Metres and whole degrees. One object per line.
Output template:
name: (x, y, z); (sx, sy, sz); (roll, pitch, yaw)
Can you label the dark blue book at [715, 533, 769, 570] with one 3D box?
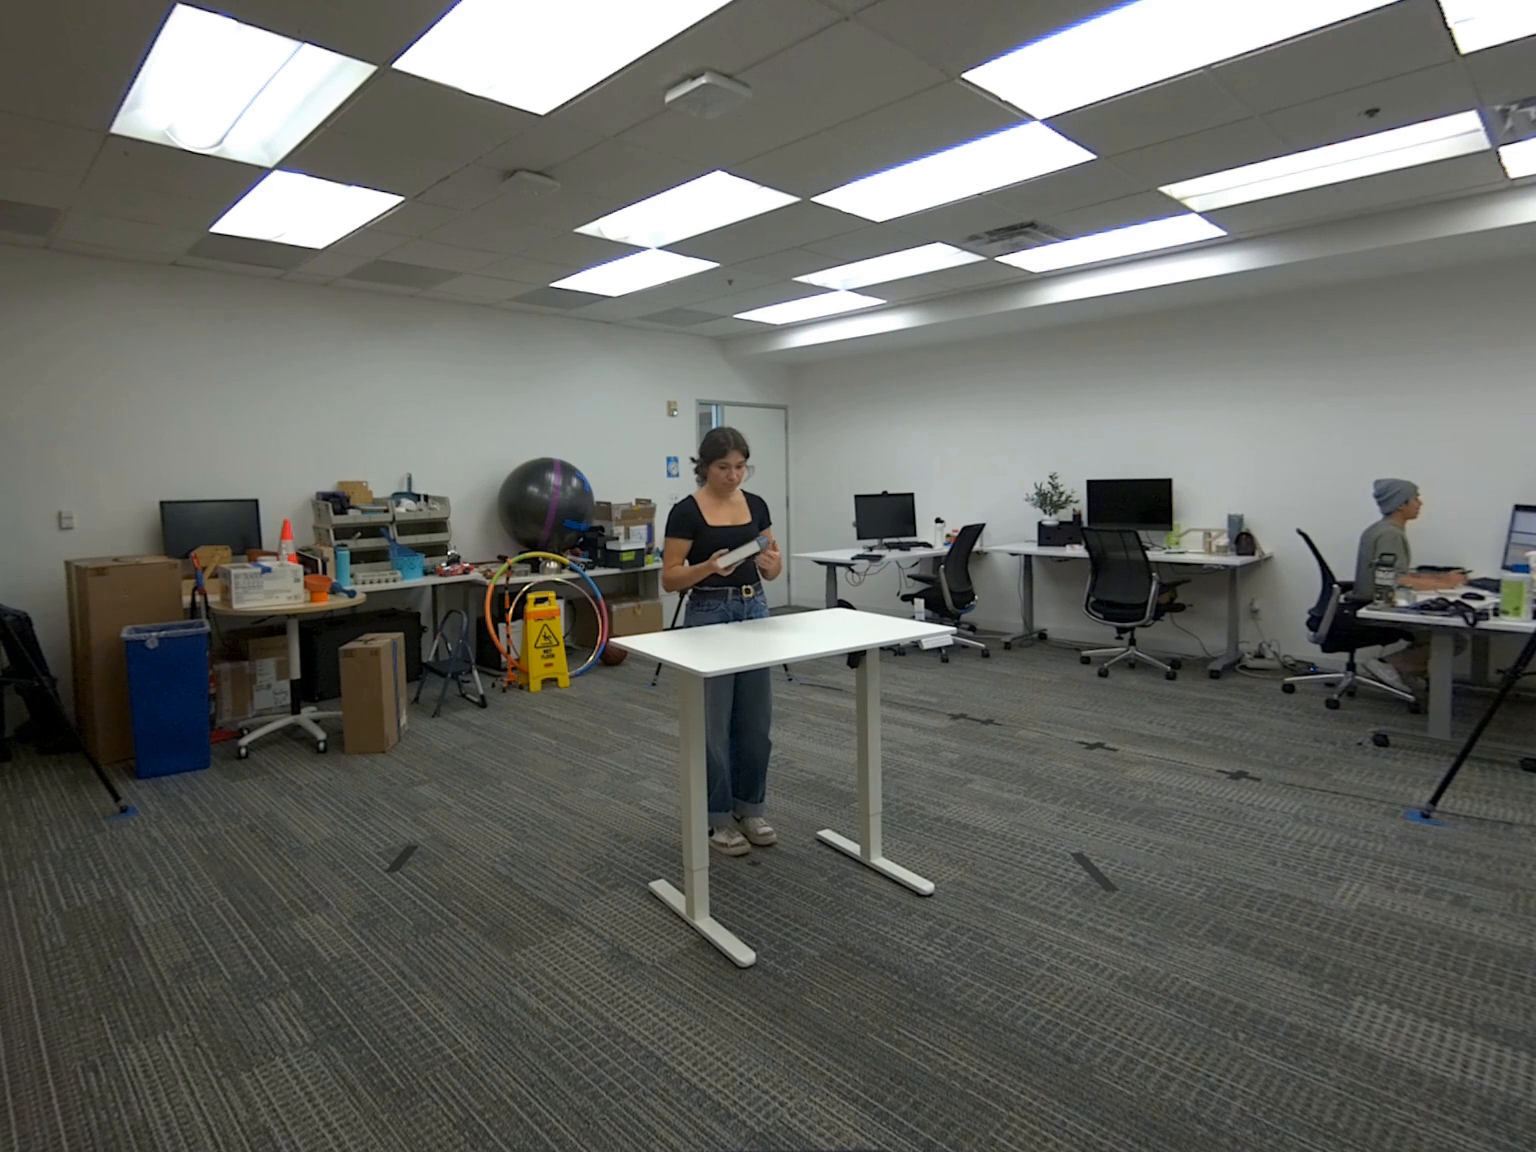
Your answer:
dark blue book: (-0.104, -0.080, 2.977); (0.164, 0.045, 0.244); (-27, 3, 10)
